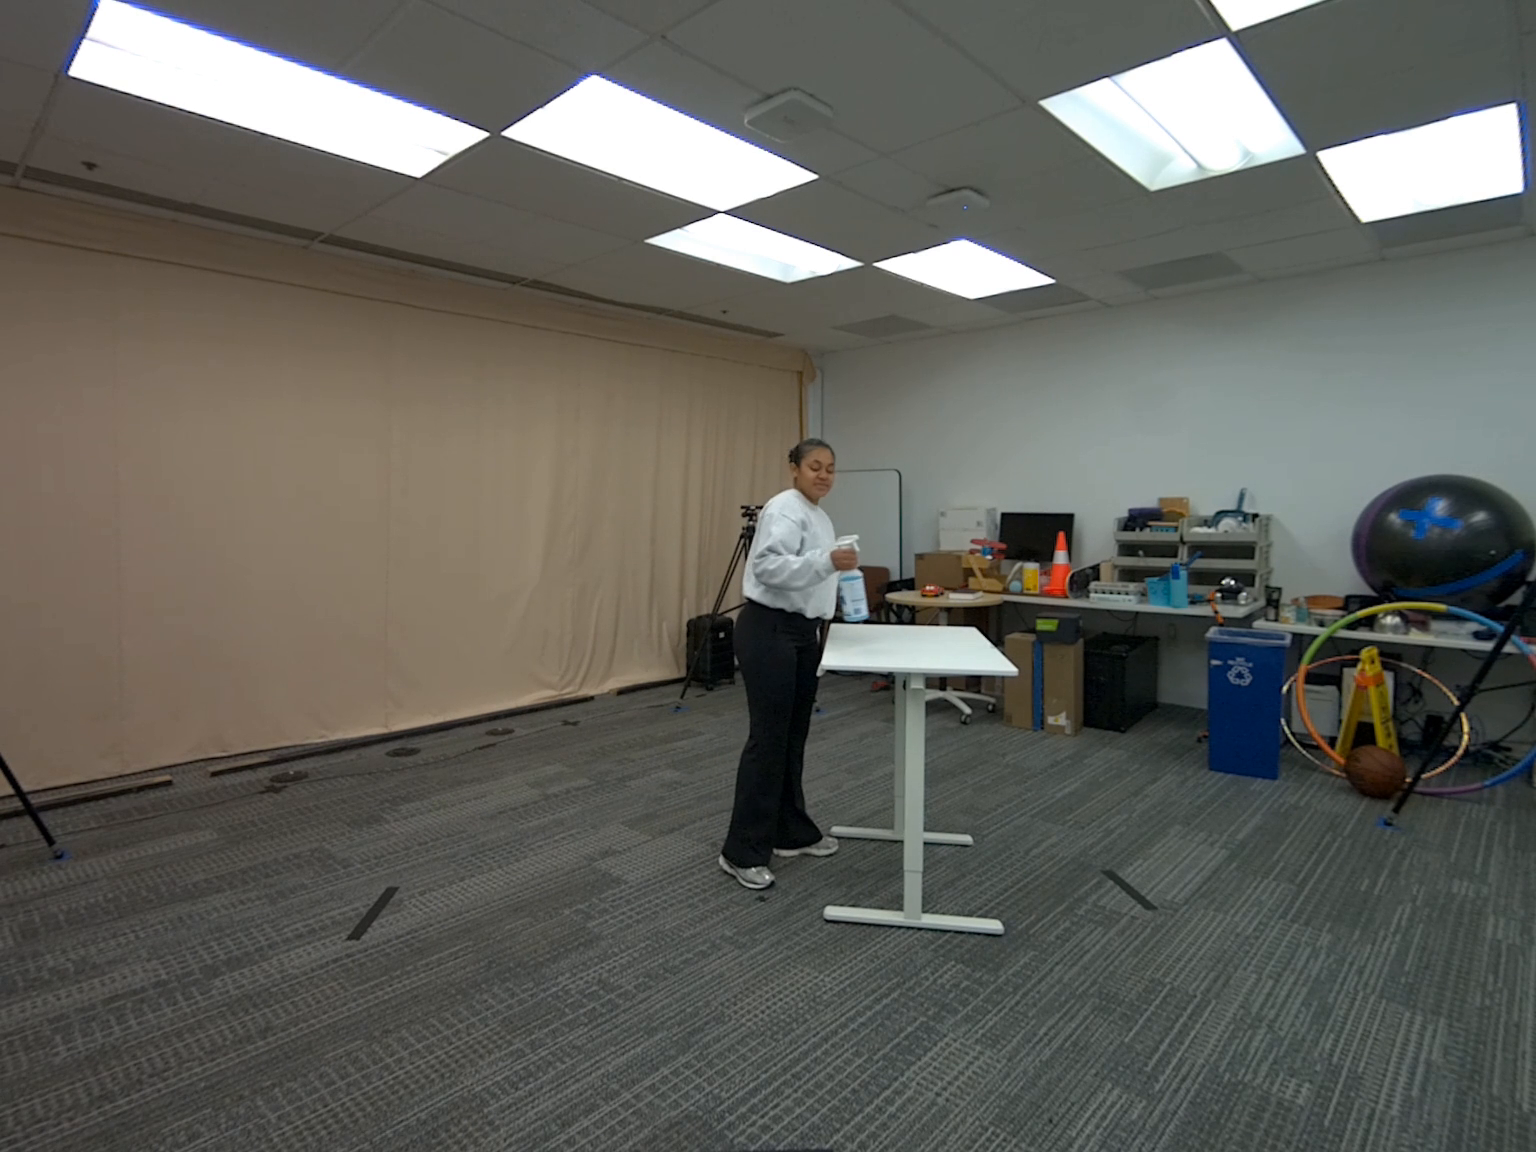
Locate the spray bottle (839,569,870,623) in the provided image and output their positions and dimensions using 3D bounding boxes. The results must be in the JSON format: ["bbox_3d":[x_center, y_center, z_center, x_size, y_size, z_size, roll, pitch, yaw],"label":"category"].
[{"bbox_3d":[0.287,0.015,2.962,0.085,0.296,0.092,-13,7,-30],"label":"spray bottle"}]
